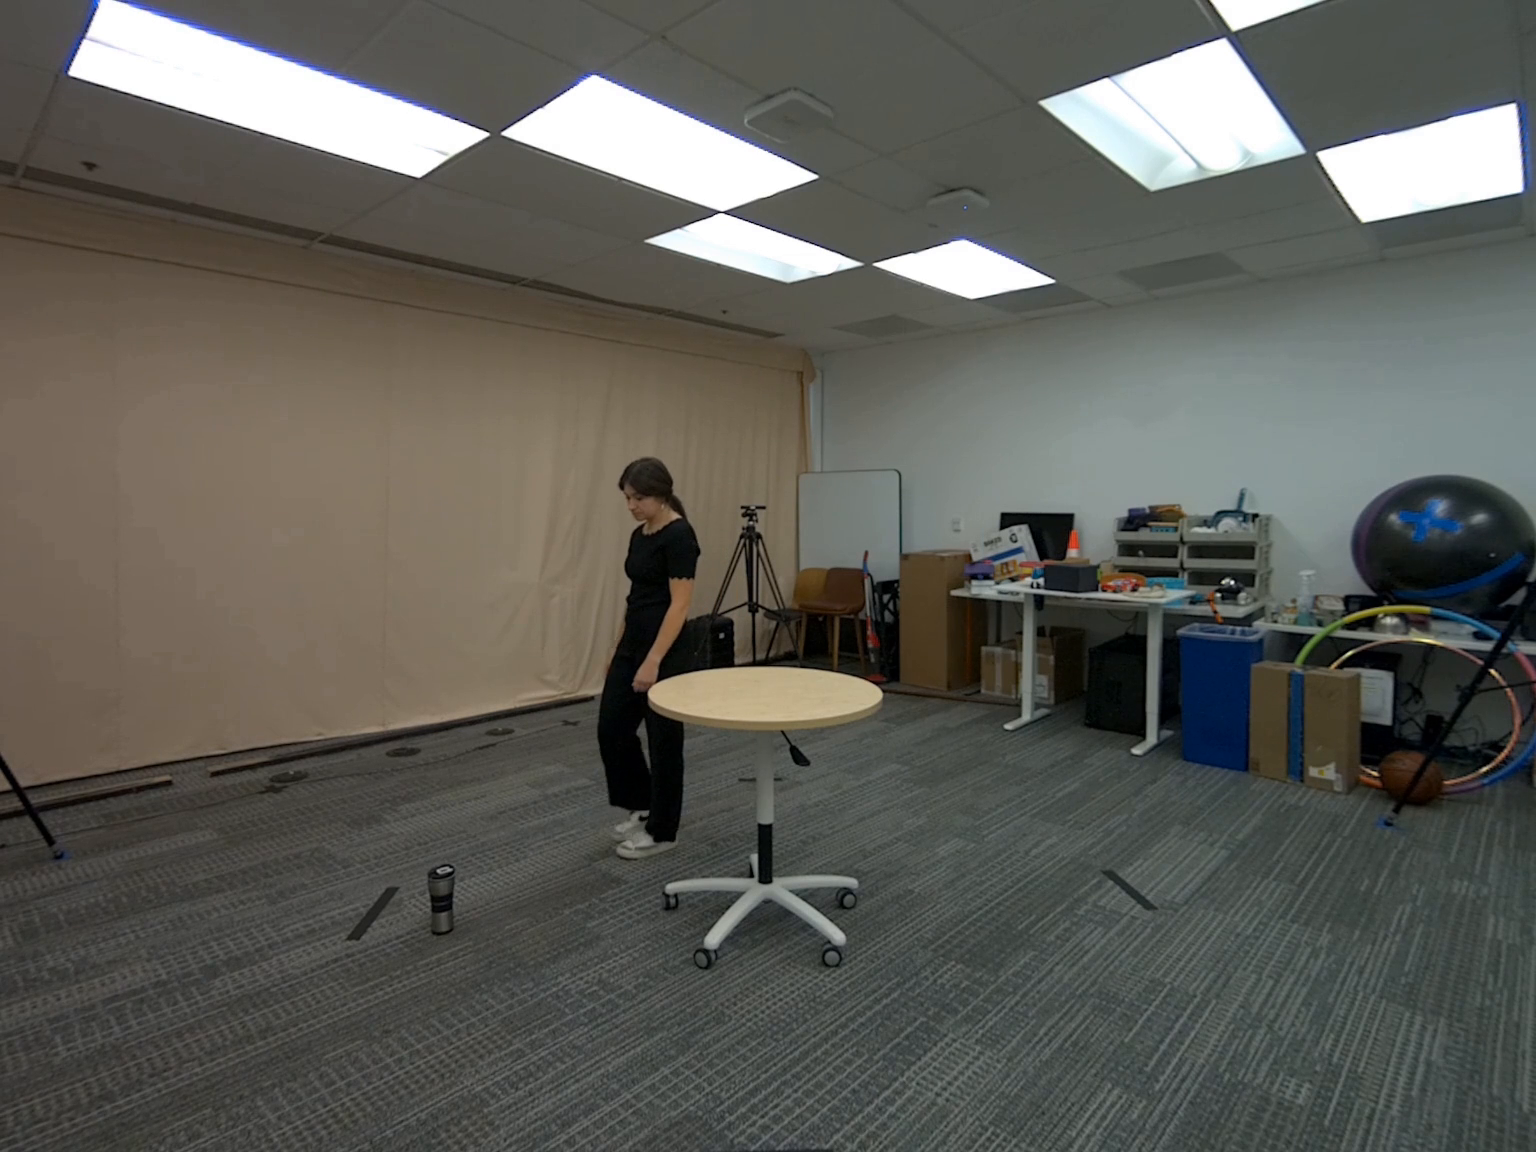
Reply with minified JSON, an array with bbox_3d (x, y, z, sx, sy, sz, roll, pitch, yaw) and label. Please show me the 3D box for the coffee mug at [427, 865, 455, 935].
[{"bbox_3d":[-1.062,1.069,2.804,0.090,0.202,0.119,-3,4,25],"label":"coffee mug"}]
